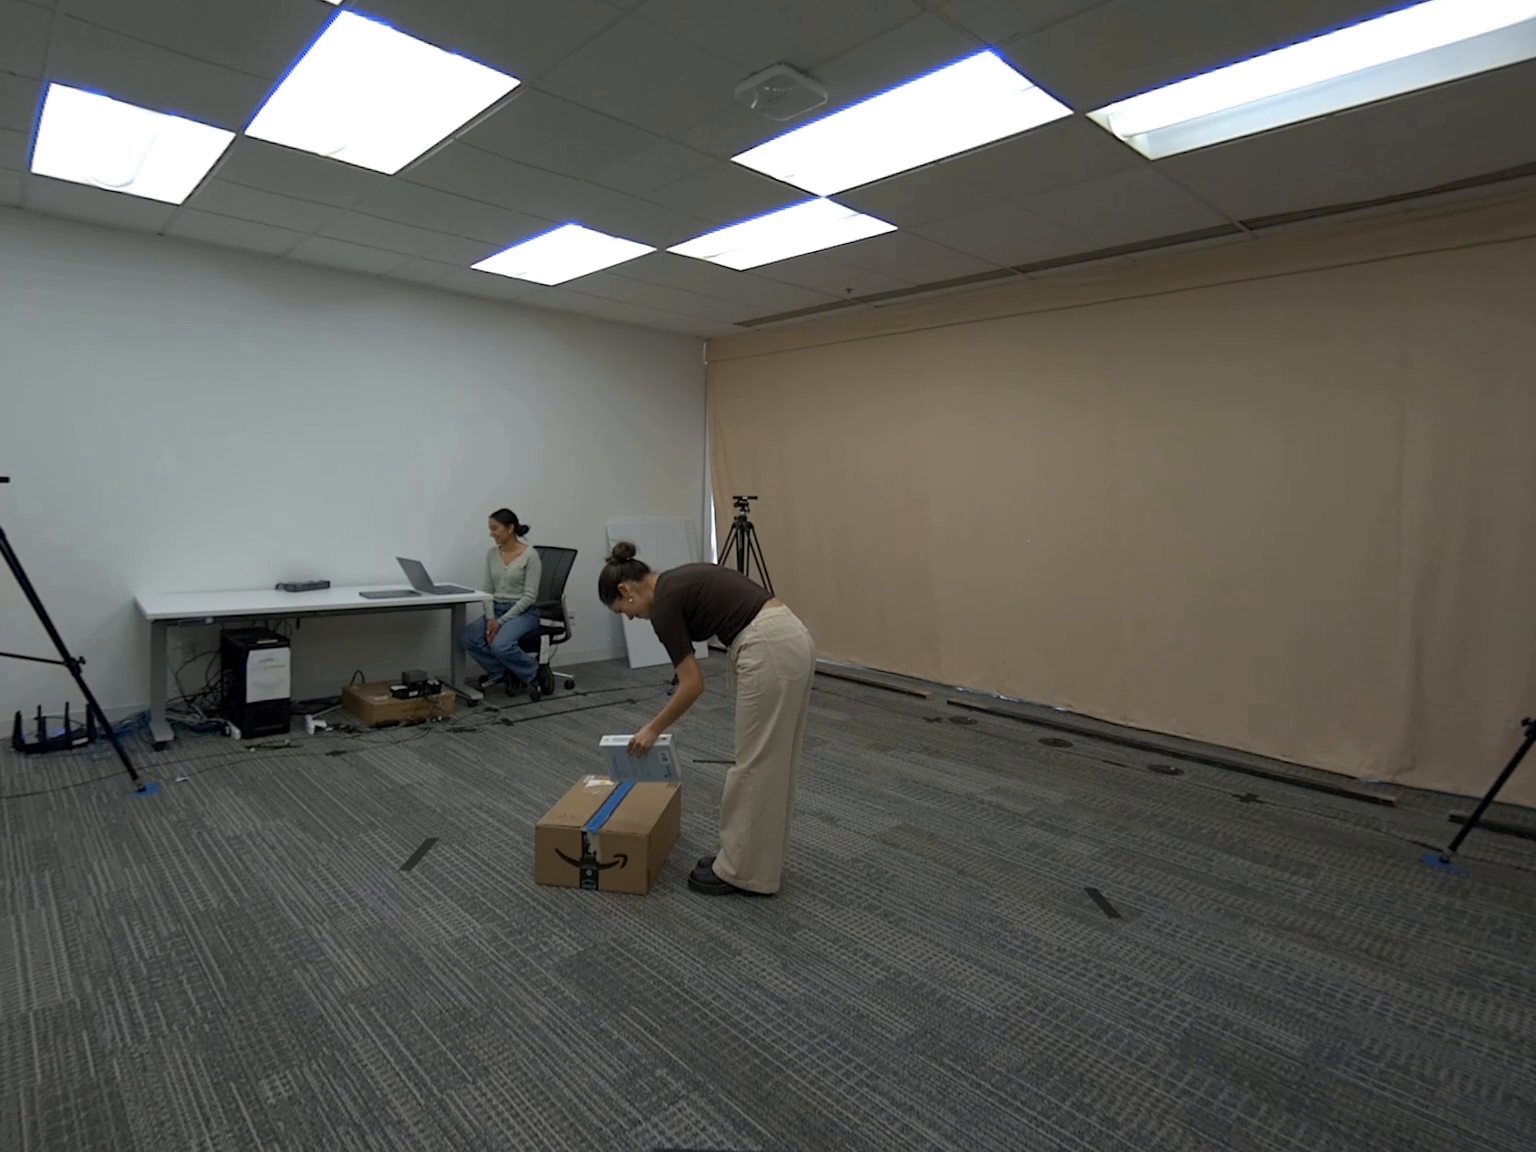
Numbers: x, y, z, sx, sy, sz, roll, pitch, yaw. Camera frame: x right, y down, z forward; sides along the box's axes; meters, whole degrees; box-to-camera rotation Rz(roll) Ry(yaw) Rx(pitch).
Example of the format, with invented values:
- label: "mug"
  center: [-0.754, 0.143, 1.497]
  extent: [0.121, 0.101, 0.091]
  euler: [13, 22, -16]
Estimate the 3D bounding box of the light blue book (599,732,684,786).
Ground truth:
- label: "light blue book"
  center: [-0.453, 0.656, 3.033]
  extent: [0.263, 0.187, 0.060]
  euler: [-3, 27, 11]
